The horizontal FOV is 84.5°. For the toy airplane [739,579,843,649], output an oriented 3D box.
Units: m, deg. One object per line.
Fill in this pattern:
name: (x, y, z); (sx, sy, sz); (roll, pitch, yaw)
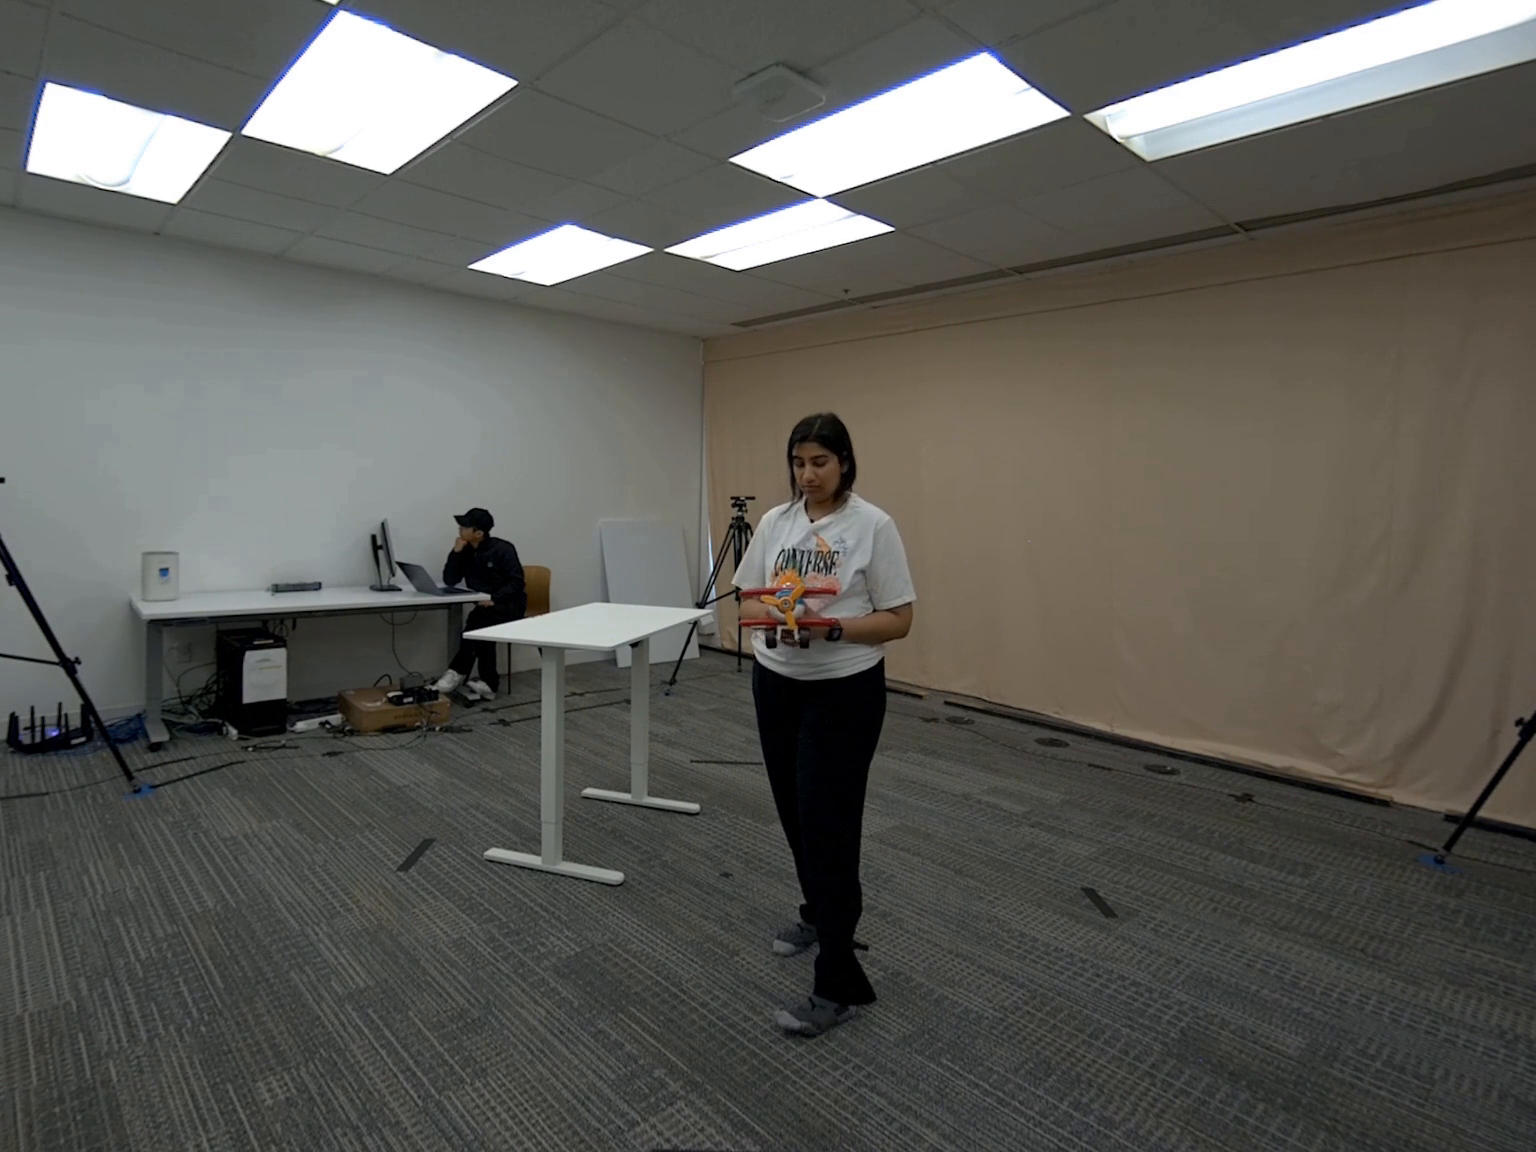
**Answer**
toy airplane: (0.035, 0.100, 2.231); (0.248, 0.156, 0.263); (-5, 4, -19)
